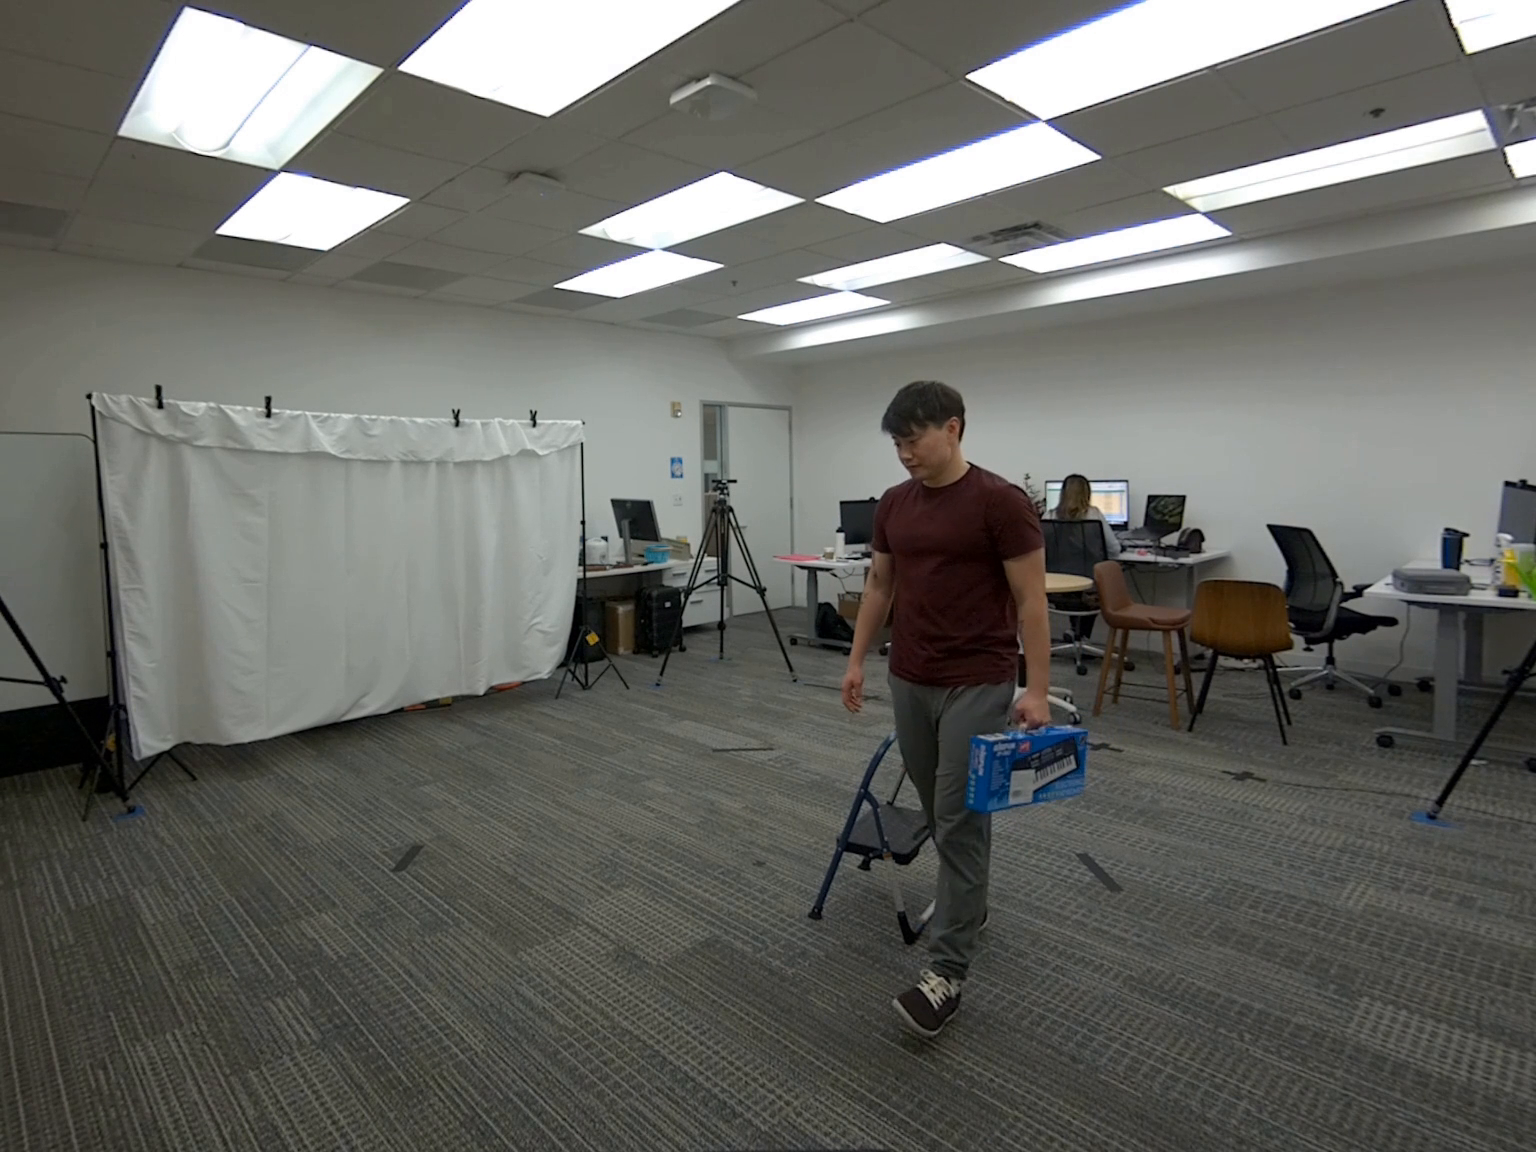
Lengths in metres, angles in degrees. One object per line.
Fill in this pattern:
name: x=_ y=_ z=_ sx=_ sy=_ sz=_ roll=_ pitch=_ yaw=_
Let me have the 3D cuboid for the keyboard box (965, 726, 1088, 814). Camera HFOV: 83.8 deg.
keyboard box: x=0.666 y=0.484 z=2.165 sx=0.423 sy=0.176 sz=0.061 roll=4 pitch=0 yaw=-40
